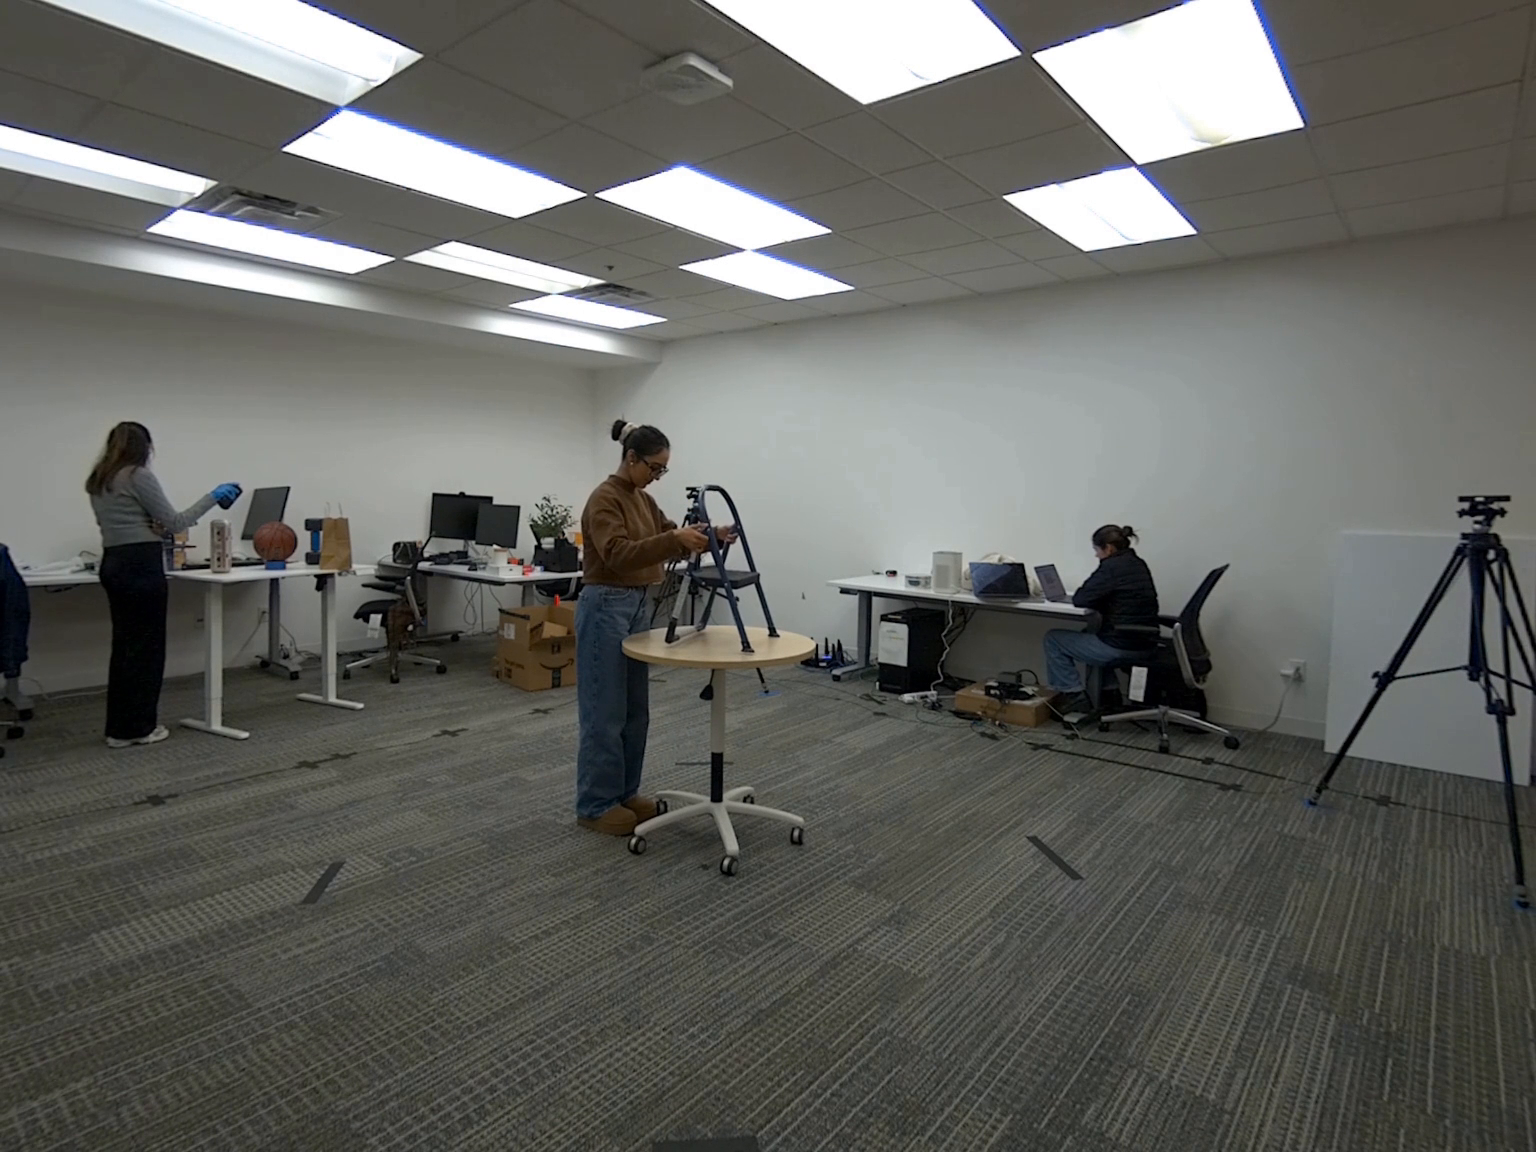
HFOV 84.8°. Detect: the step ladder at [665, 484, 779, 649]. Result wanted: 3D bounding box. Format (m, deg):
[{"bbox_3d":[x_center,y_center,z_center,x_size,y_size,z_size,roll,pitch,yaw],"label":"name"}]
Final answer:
[{"bbox_3d":[-0.169,-0.047,3.341,0.356,0.604,0.424,4,4,16],"label":"step ladder"}]
